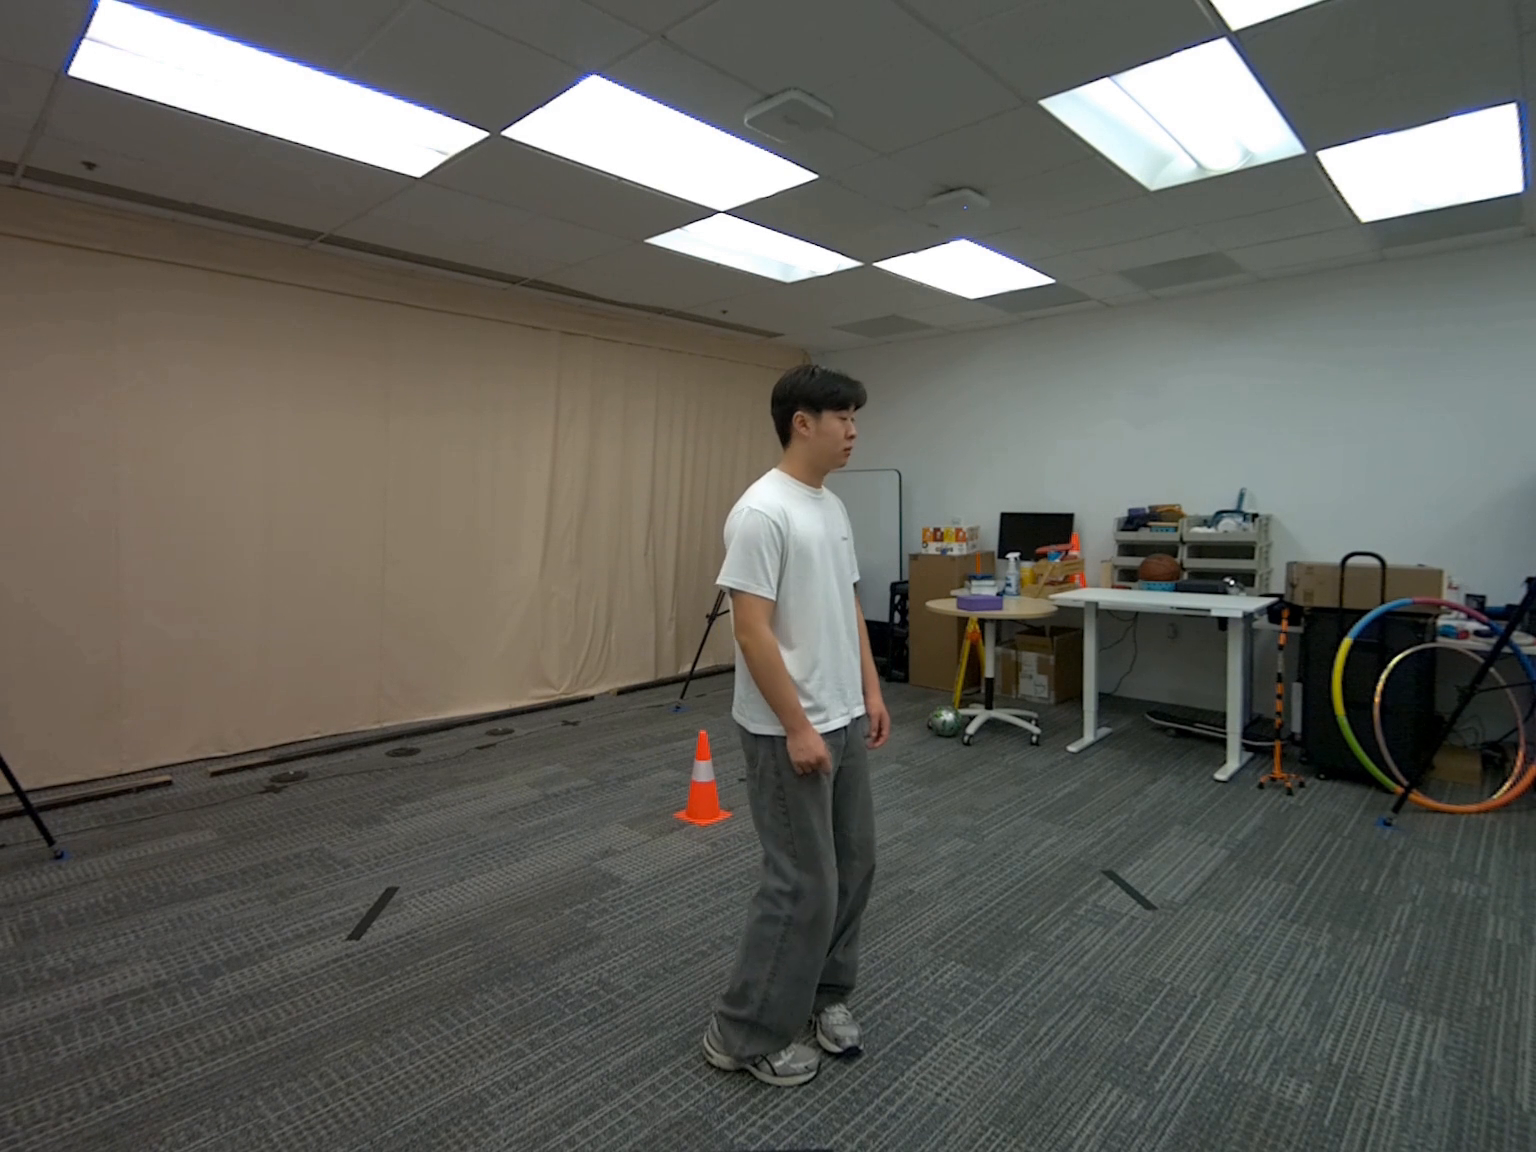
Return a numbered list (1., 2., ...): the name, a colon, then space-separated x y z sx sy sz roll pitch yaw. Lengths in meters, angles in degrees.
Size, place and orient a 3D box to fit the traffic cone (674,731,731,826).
1. traffic cone: -0.288 0.894 3.801 0.197 0.383 0.212 -1 2 -44
